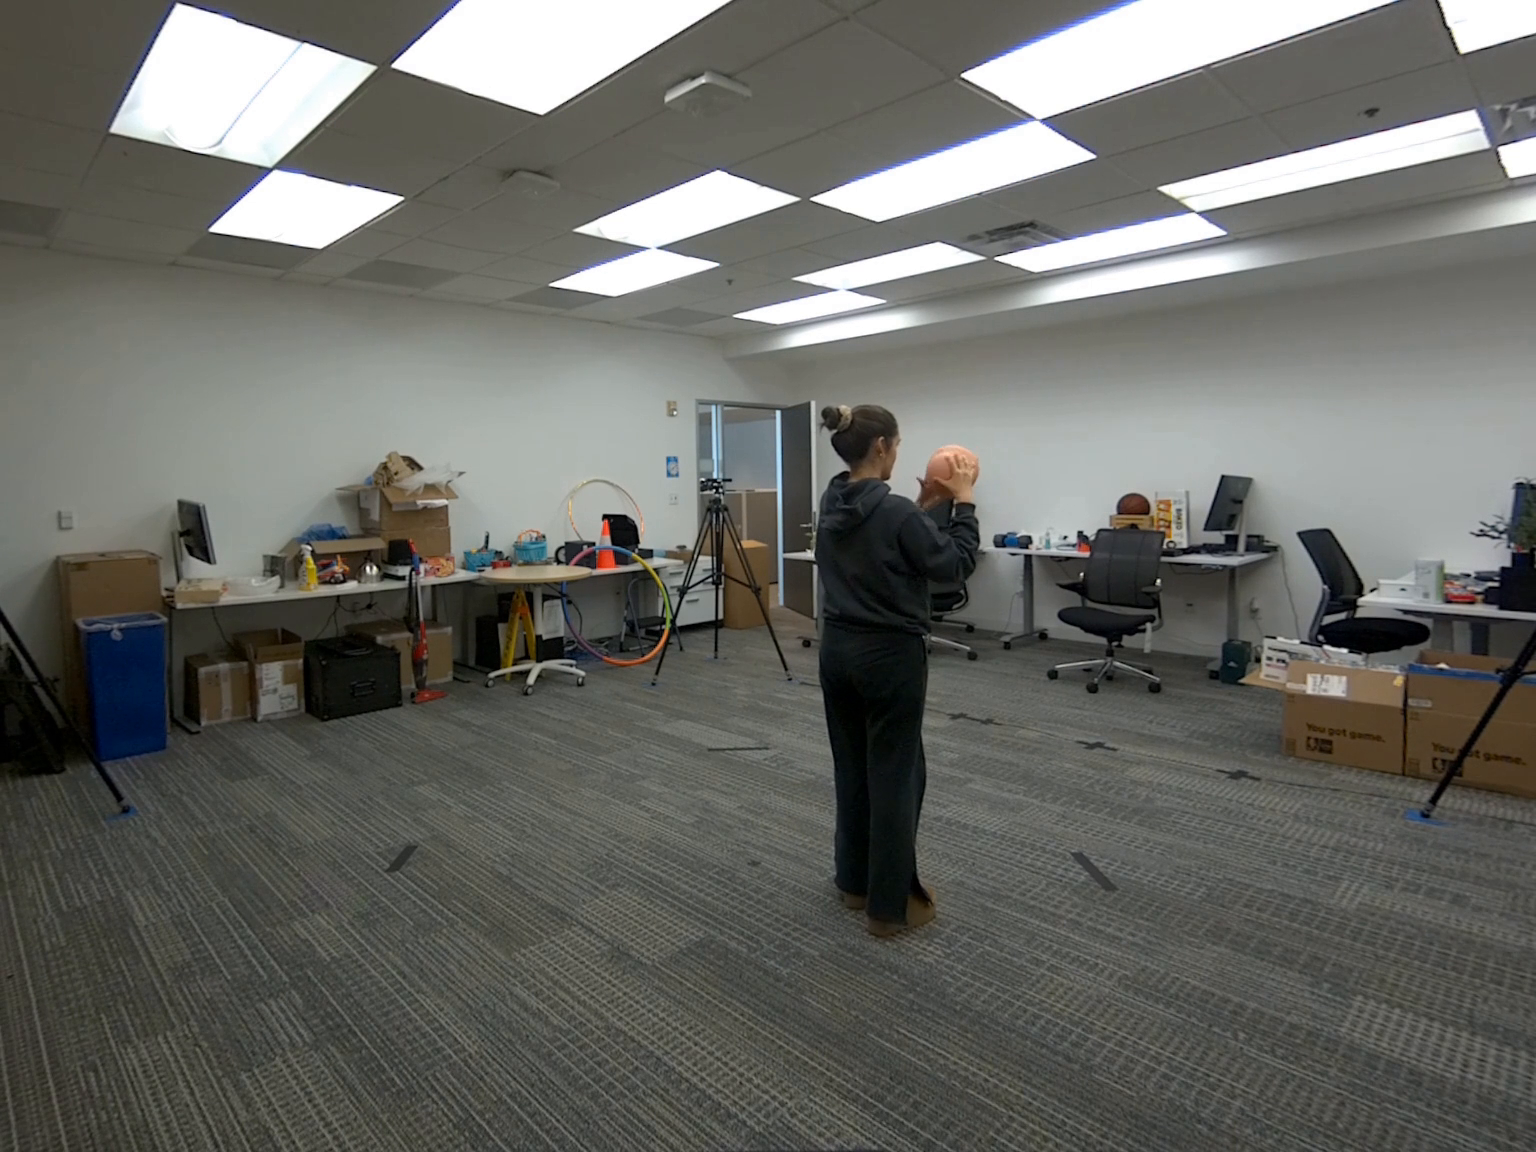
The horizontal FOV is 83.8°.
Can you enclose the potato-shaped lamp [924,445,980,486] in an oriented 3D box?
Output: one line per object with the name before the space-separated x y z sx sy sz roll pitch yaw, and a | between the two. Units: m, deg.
potato-shaped lamp | 0.593 -0.336 2.770 0.168 0.171 0.195 33 14 13
